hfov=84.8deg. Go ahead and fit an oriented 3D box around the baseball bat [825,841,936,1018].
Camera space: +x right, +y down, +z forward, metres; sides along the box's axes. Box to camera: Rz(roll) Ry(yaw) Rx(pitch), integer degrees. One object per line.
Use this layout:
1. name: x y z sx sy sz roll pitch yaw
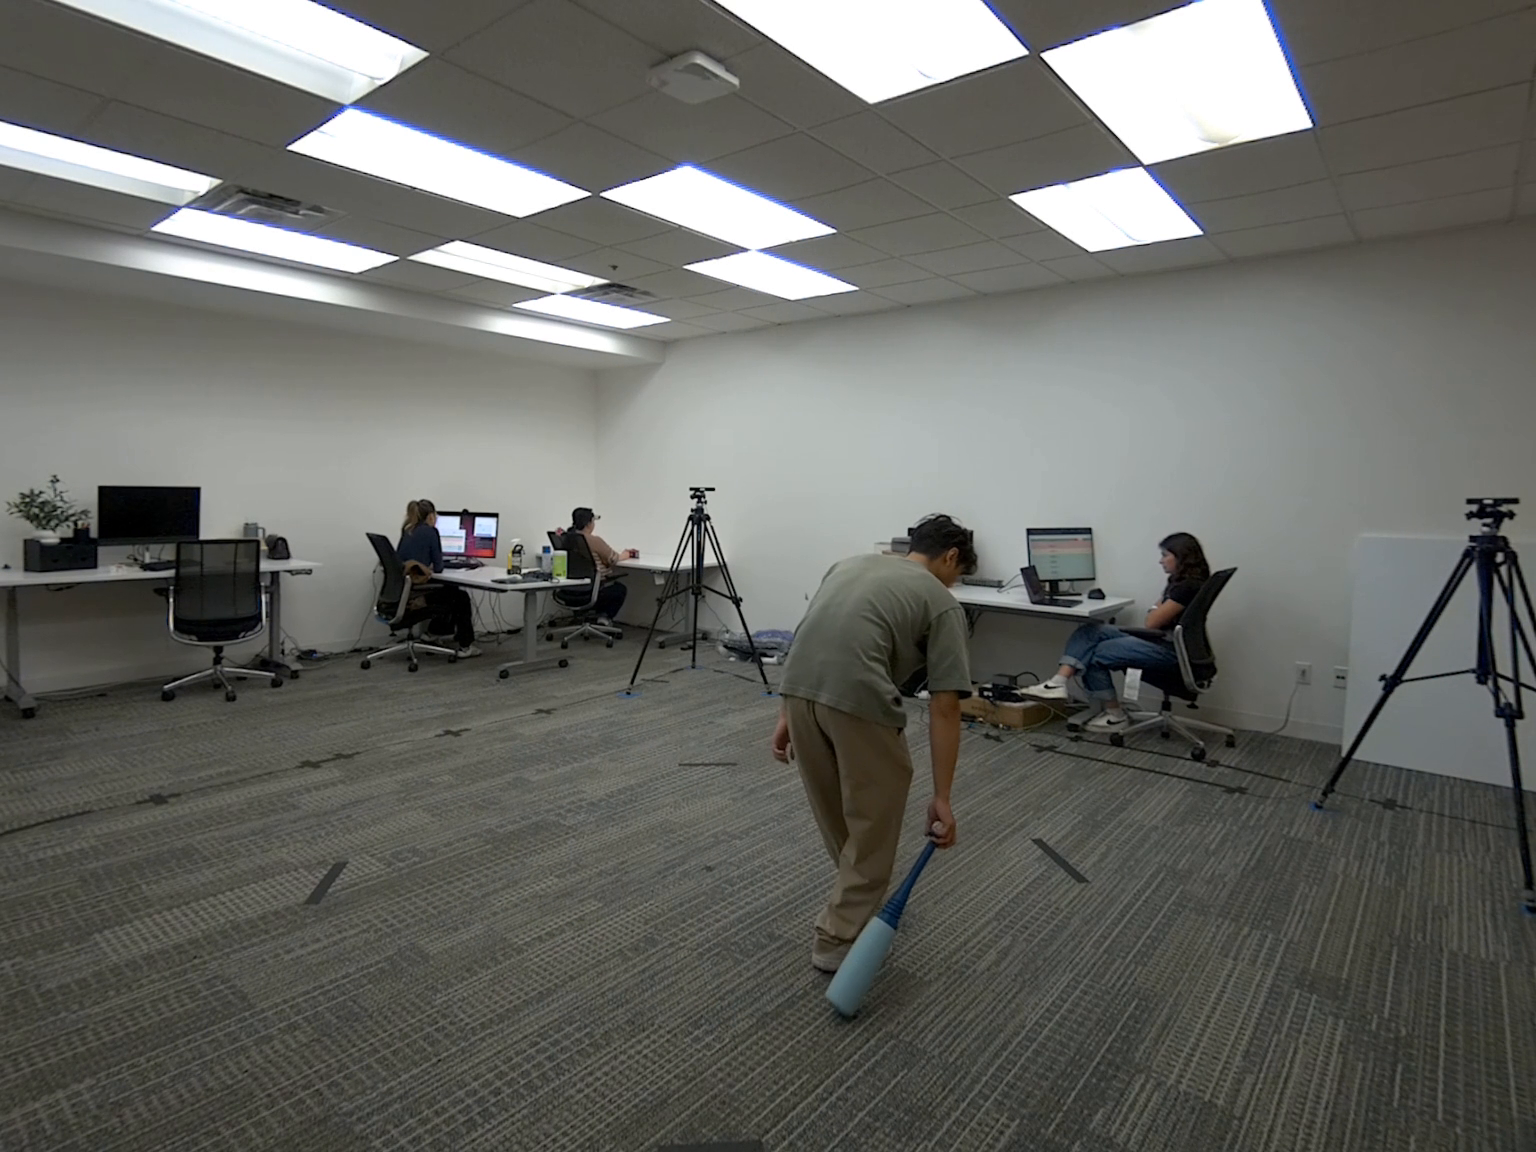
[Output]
1. baseball bat: 0.336 0.937 2.334 0.091 0.544 0.087 34 -19 11
